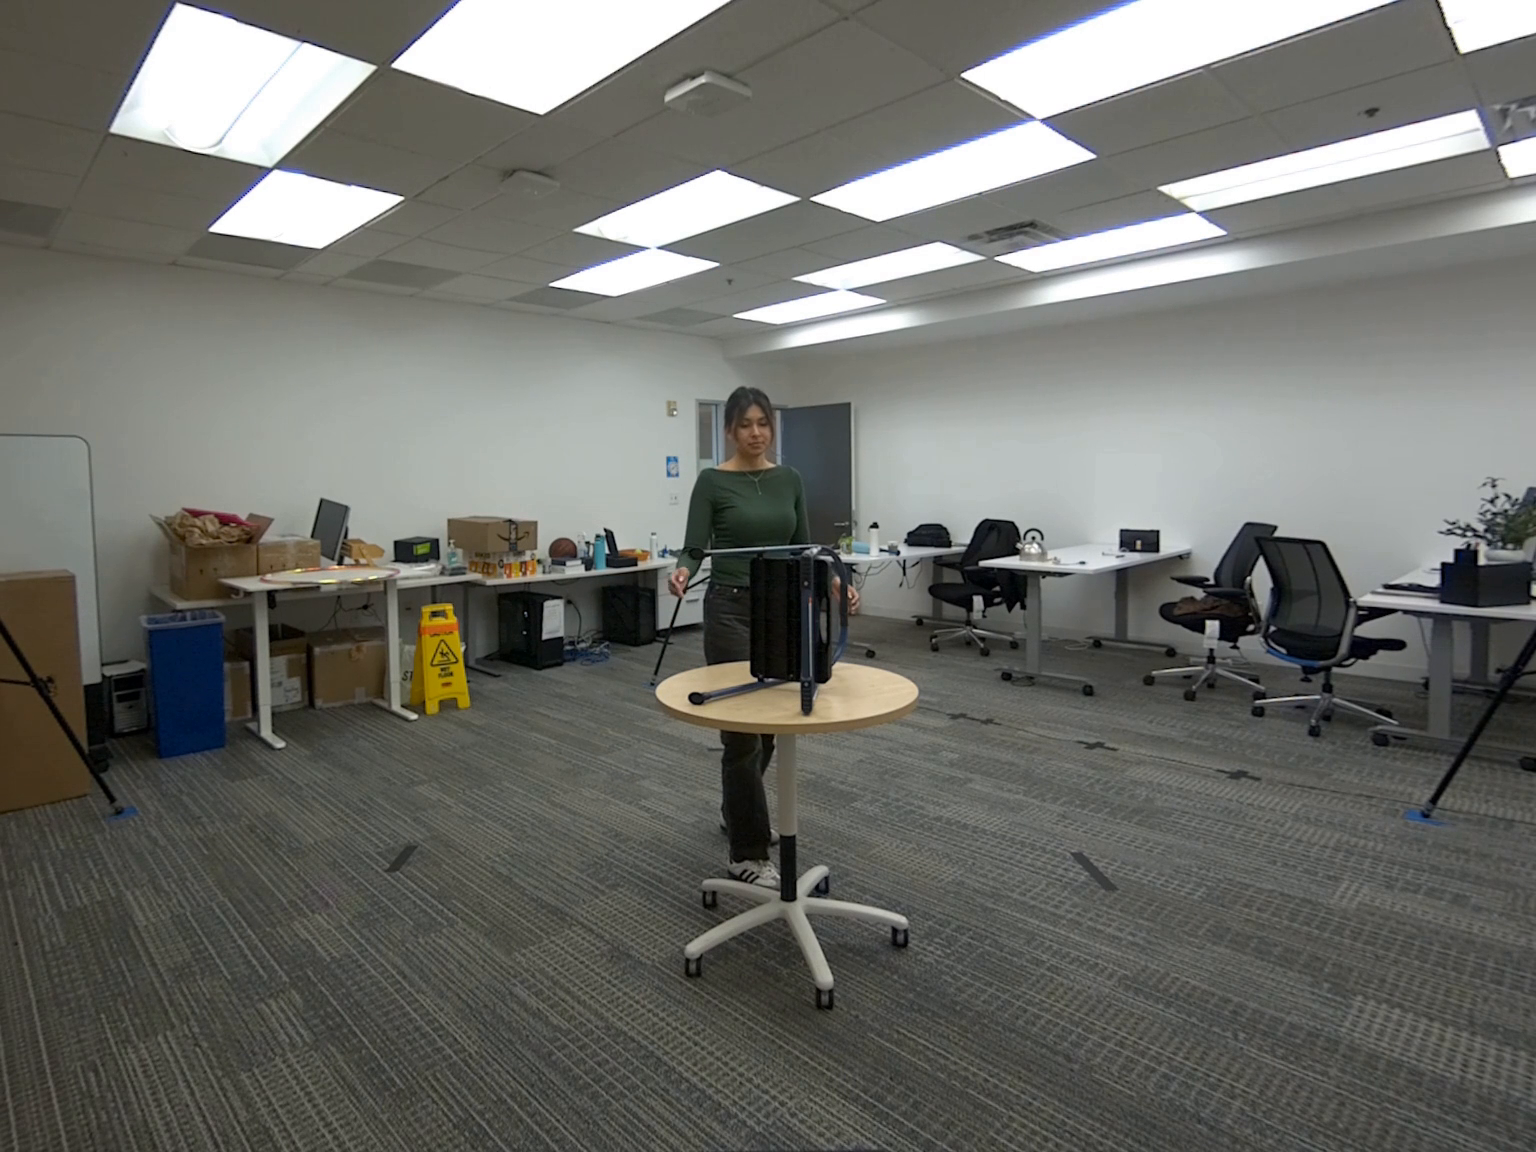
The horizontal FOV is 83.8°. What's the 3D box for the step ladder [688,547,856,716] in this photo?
[{"bbox_3d":[0.060,0.120,2.523,0.357,0.429,0.595,3,5,23],"label":"step ladder"}]
